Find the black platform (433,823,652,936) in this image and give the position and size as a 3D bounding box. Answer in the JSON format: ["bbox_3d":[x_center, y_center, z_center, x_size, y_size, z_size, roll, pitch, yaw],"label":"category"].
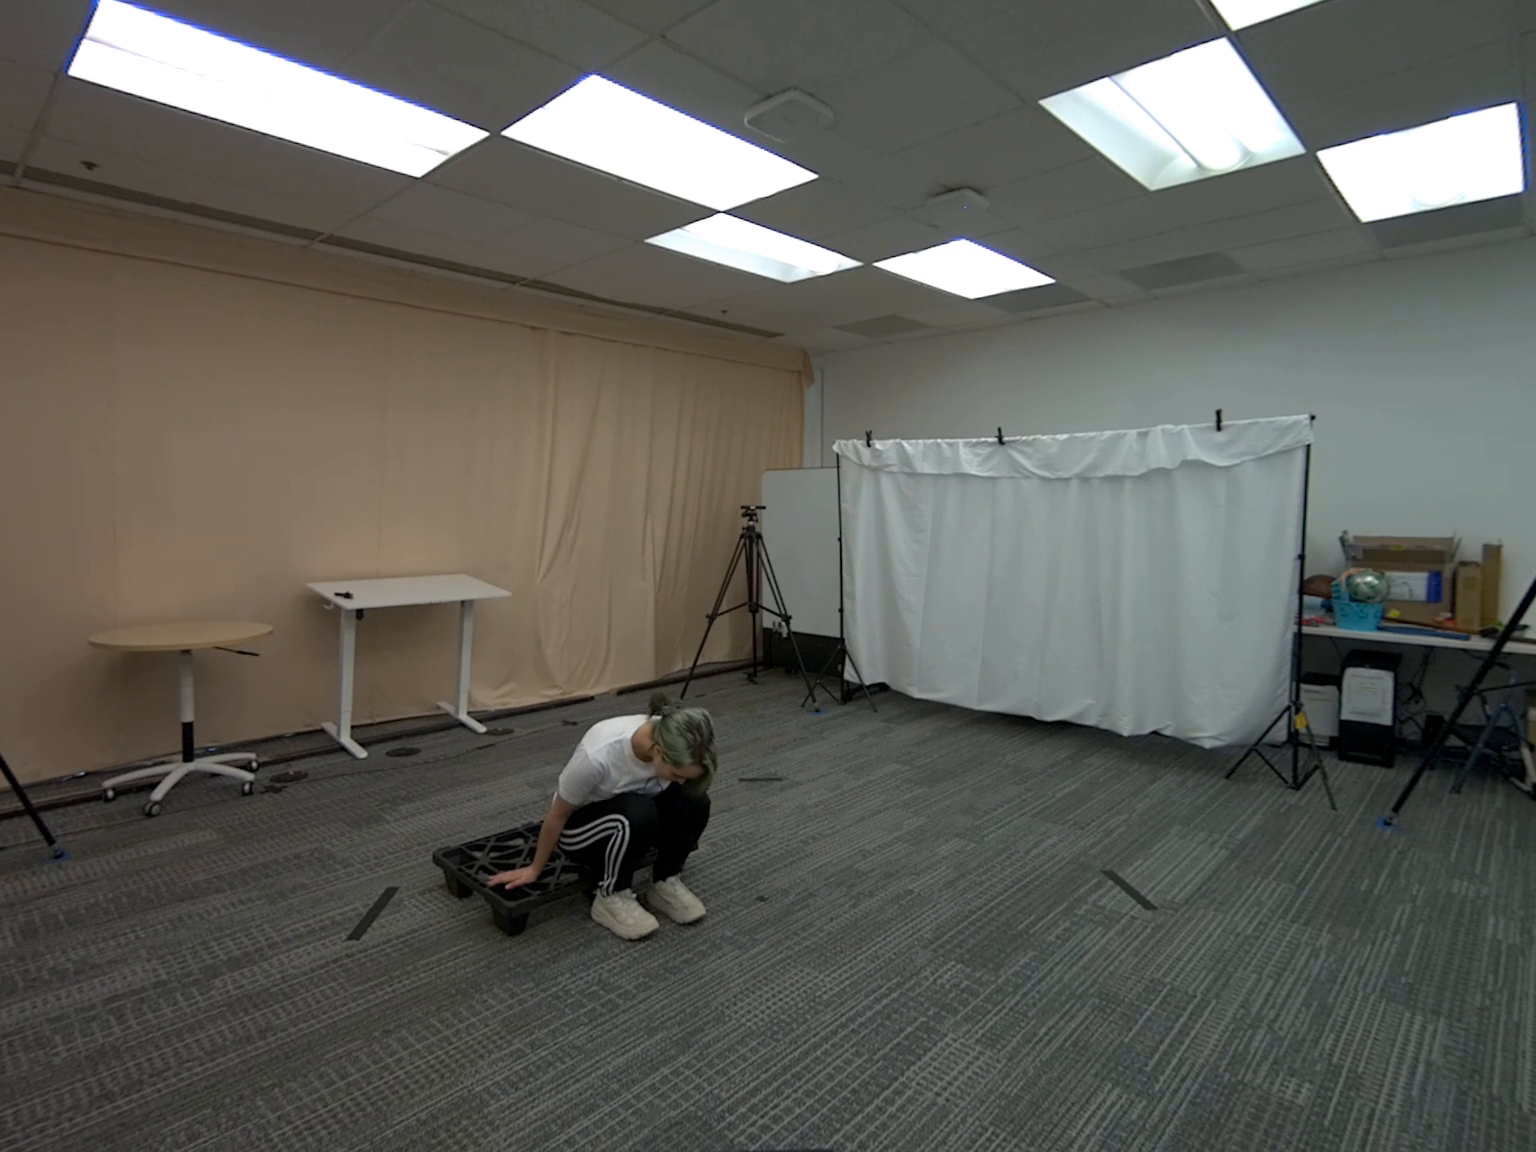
[{"bbox_3d":[-0.743,1.067,3.142,0.781,0.143,0.625,-5,7,-43],"label":"black platform"}]
